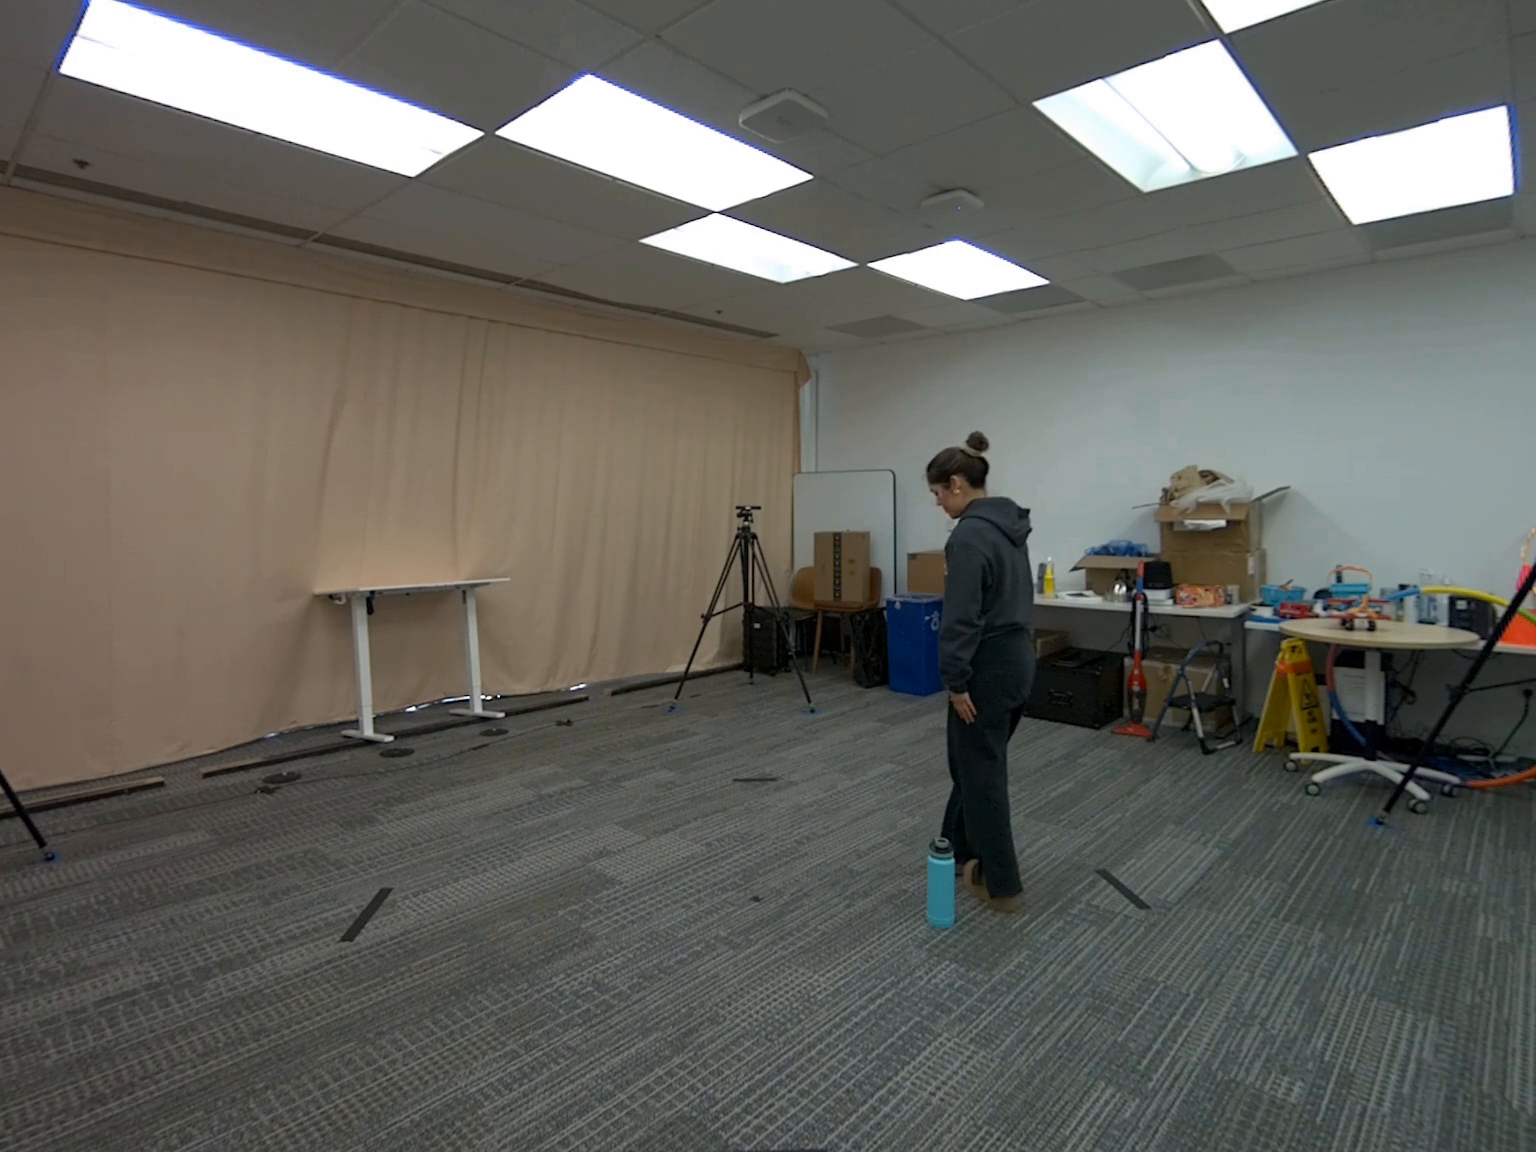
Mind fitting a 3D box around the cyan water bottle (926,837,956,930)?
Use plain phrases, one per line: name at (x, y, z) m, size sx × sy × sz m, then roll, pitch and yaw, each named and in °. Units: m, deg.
cyan water bottle at (0.601, 1.007, 2.799) m, size 0.092 × 0.283 × 0.092 m, roll -1°, pitch 1°, yaw -2°
